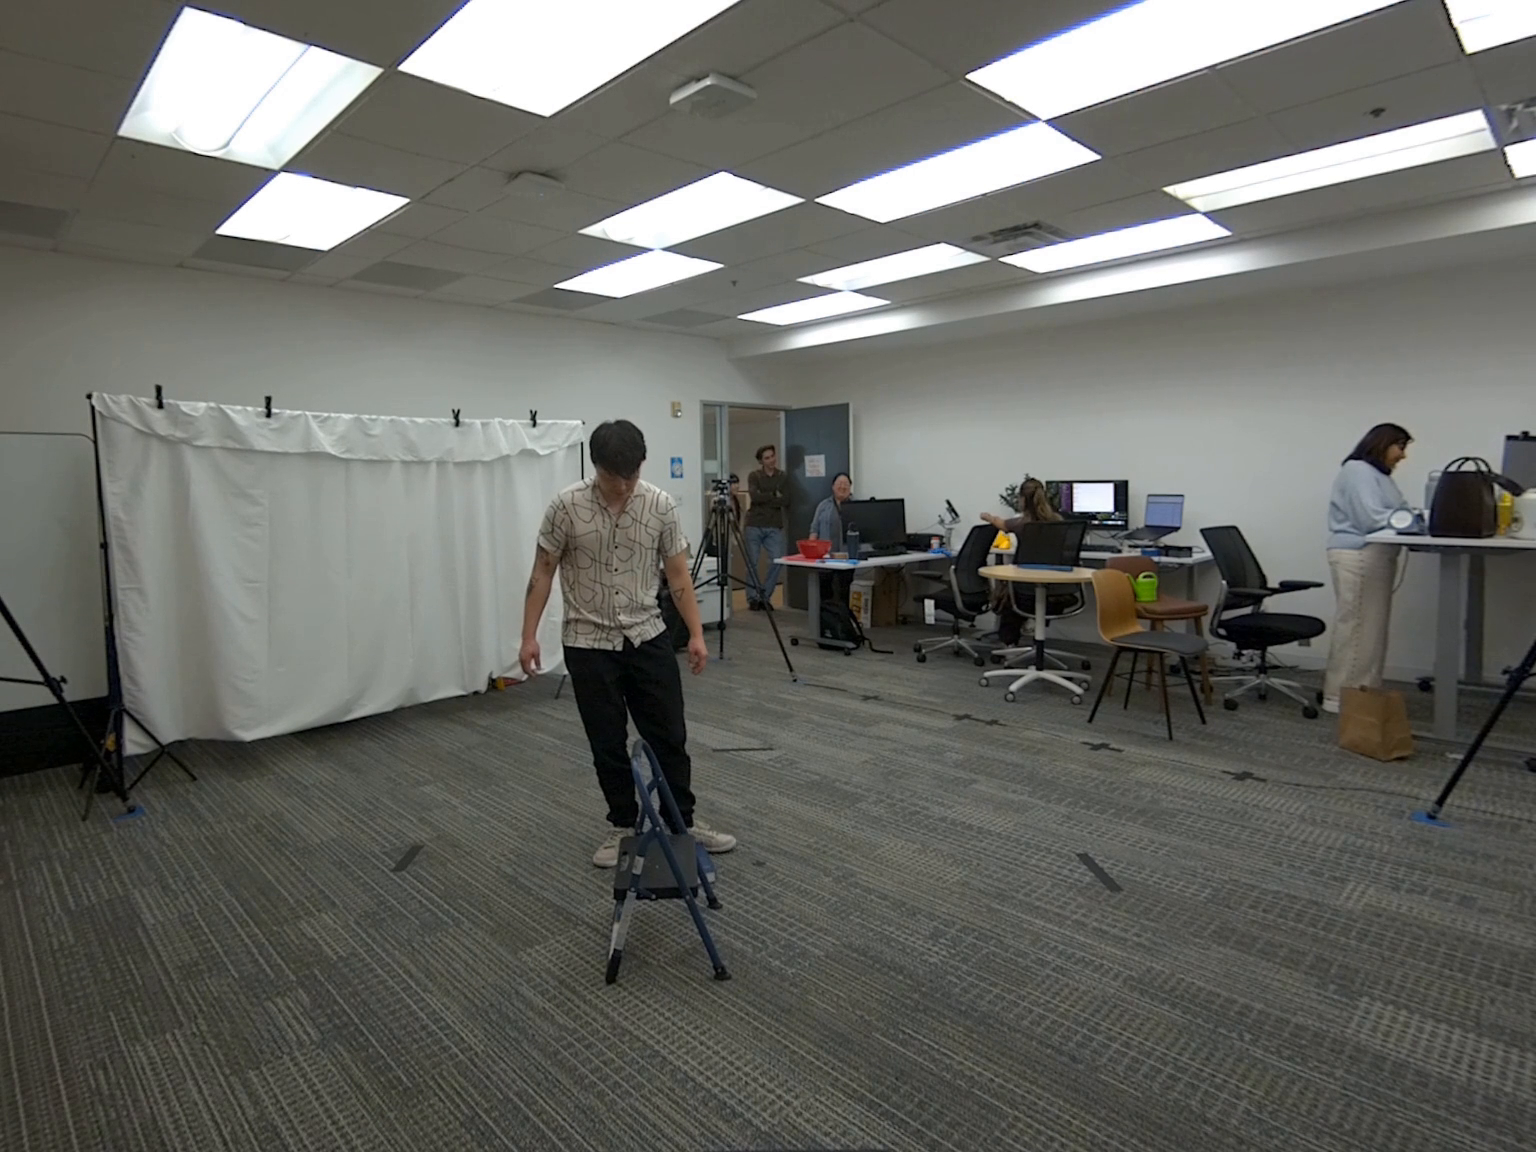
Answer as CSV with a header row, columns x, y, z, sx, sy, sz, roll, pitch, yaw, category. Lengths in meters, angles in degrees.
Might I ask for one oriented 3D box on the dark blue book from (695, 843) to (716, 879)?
x,y,z,sx,sy,sz,roll,pitch,yaw,category
-0.288,1.040,3.061,0.161,0.045,0.249,-3,7,-15,dark blue book
